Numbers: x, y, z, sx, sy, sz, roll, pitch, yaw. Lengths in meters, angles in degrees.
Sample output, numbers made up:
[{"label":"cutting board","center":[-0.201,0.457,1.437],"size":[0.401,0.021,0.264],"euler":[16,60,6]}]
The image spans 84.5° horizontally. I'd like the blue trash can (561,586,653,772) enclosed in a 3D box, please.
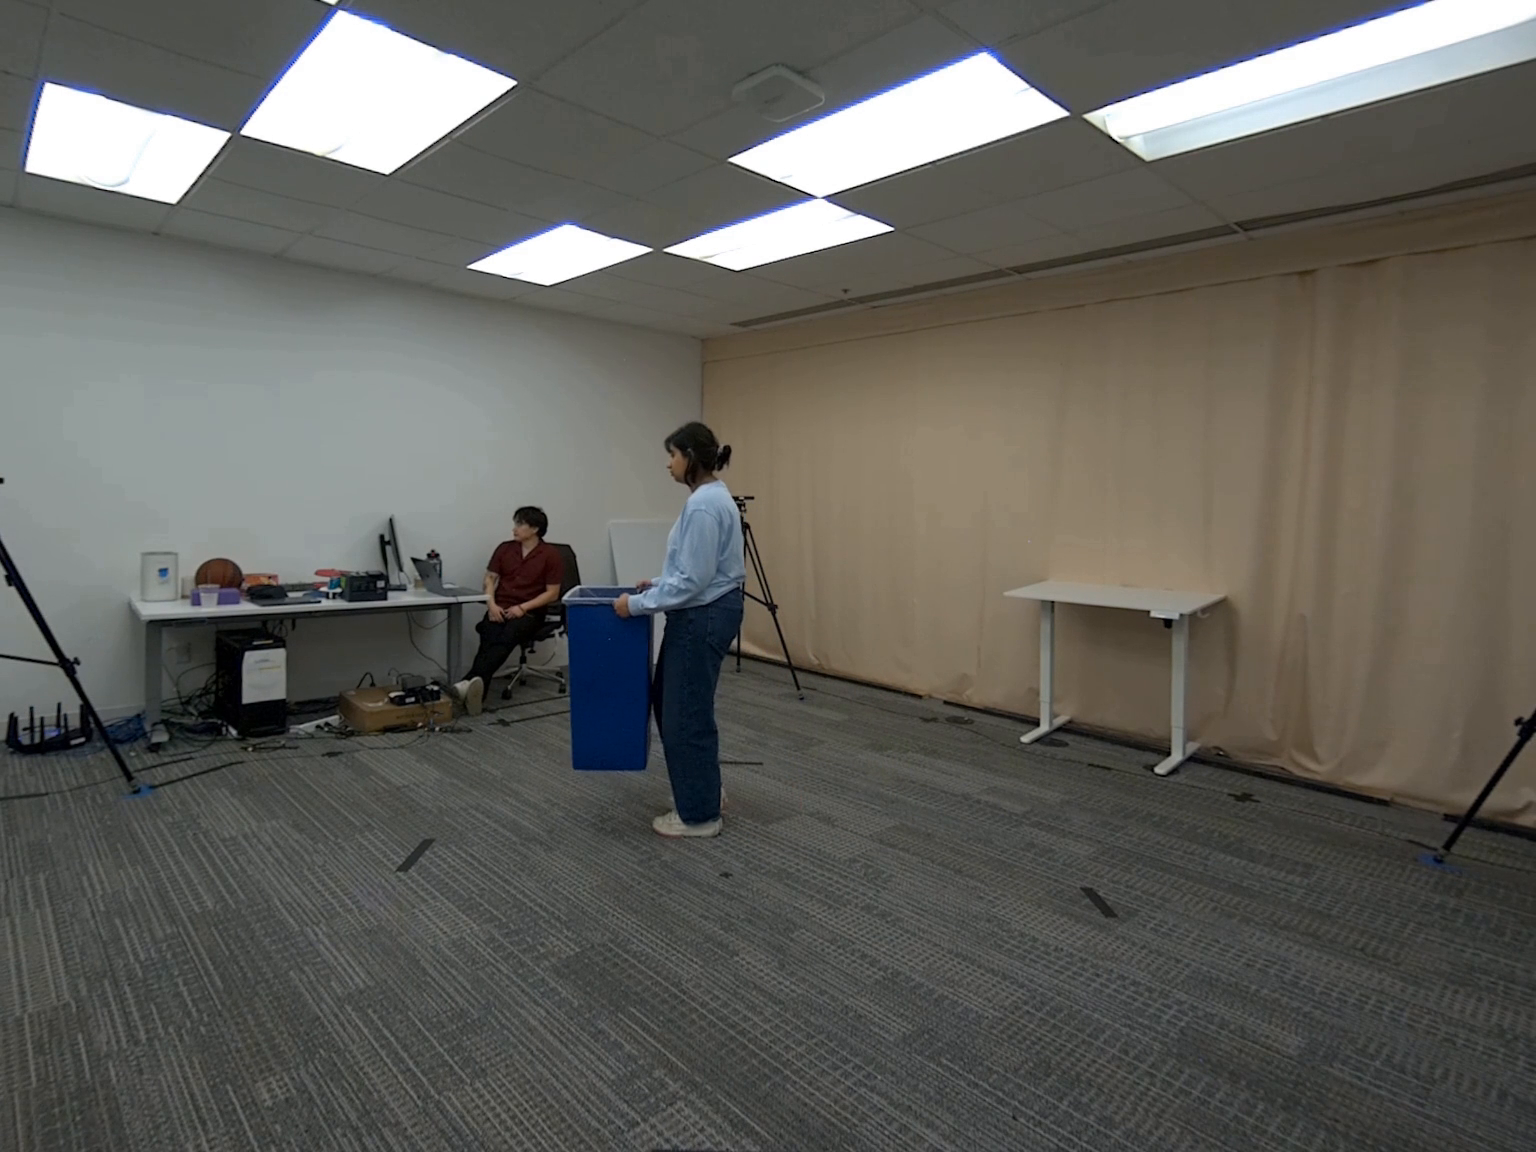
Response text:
[{"label":"blue trash can","center":[-0.665,0.424,3.553],"size":[0.373,0.711,0.380],"euler":[1,5,-4]}]
